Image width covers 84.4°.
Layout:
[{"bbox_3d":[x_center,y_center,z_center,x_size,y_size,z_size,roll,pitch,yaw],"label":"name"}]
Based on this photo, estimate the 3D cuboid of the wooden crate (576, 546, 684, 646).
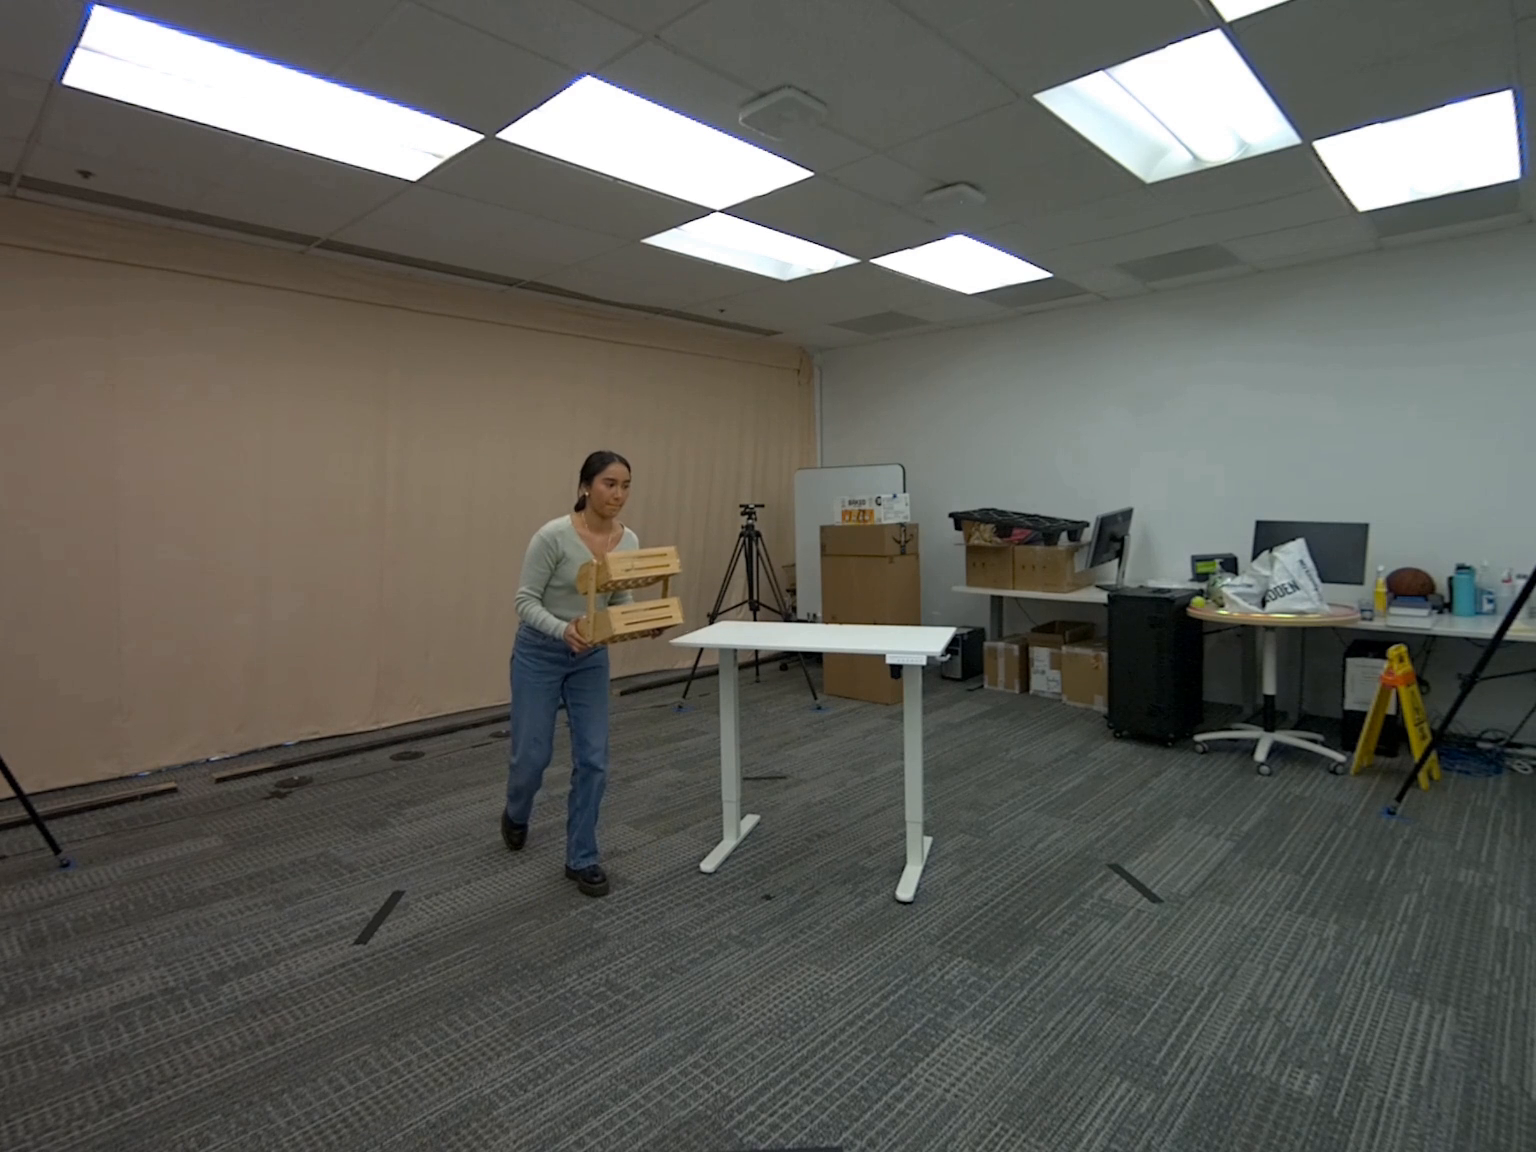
[{"bbox_3d":[-0.486,0.075,2.871,0.315,0.275,0.309,-7,-11,-44],"label":"wooden crate"}]
